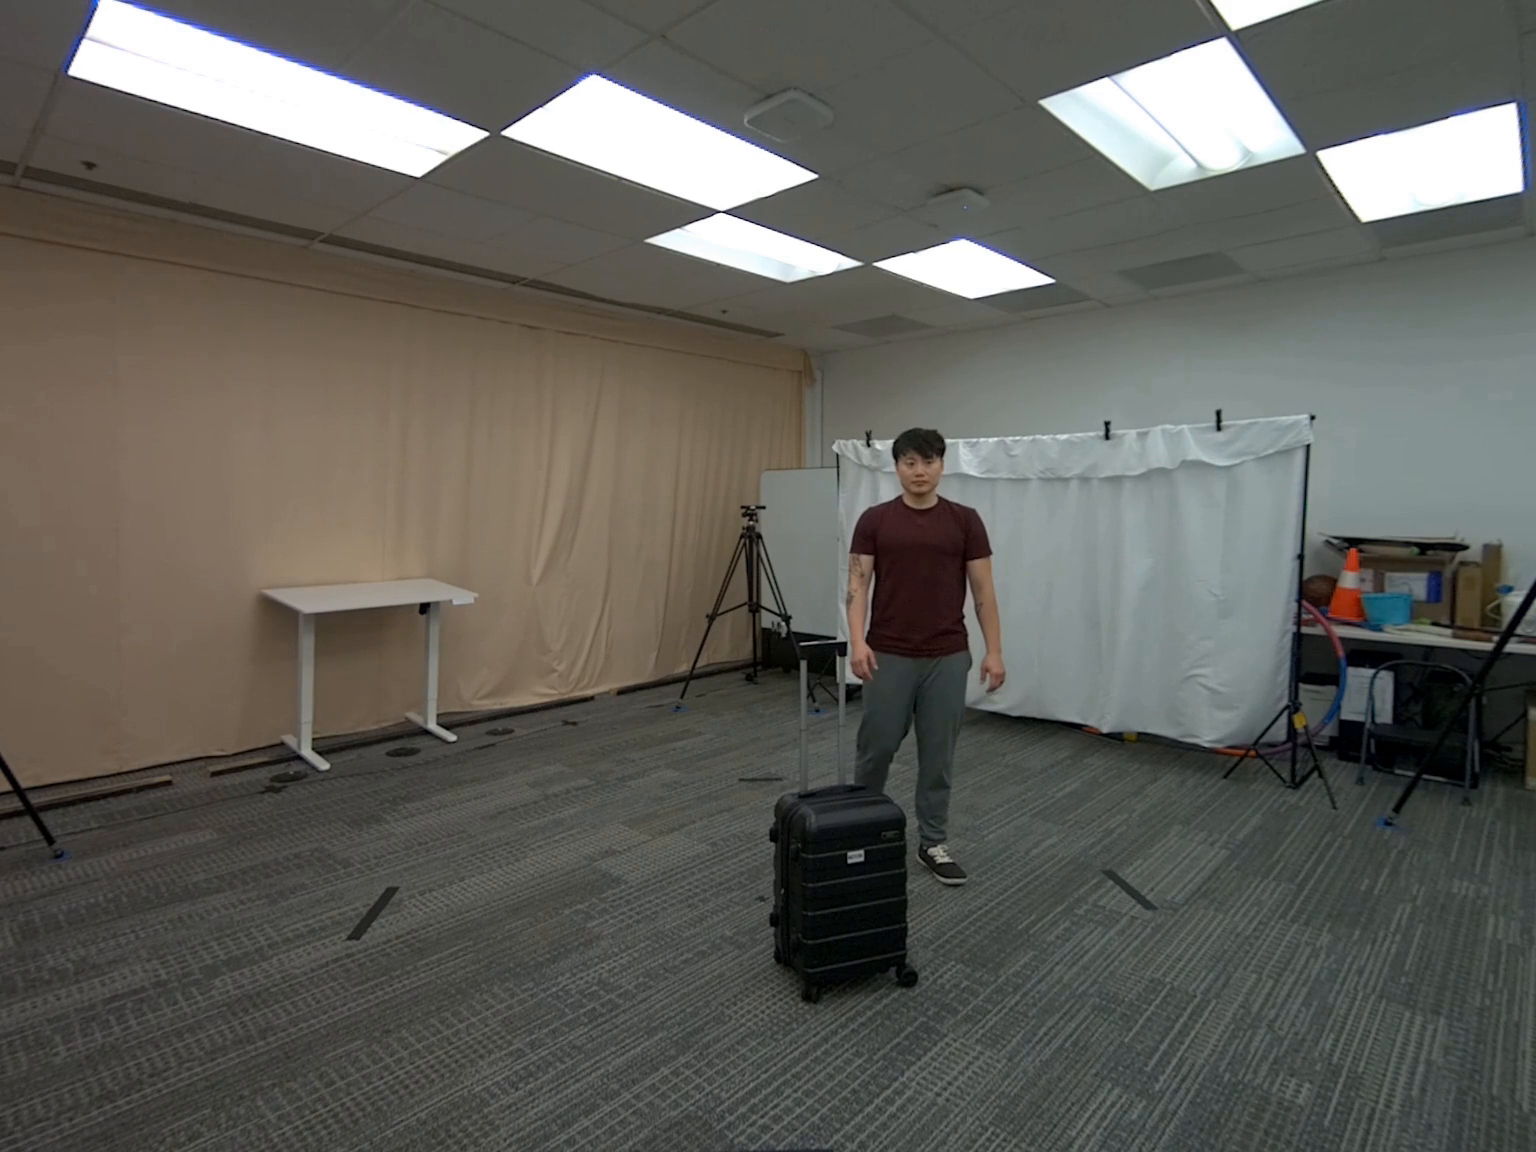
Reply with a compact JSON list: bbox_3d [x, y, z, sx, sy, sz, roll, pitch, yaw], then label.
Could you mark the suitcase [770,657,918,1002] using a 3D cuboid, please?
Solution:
[{"bbox_3d":[0.221,0.710,2.469,0.377,0.975,0.262,-1,5,-17],"label":"suitcase"}]
